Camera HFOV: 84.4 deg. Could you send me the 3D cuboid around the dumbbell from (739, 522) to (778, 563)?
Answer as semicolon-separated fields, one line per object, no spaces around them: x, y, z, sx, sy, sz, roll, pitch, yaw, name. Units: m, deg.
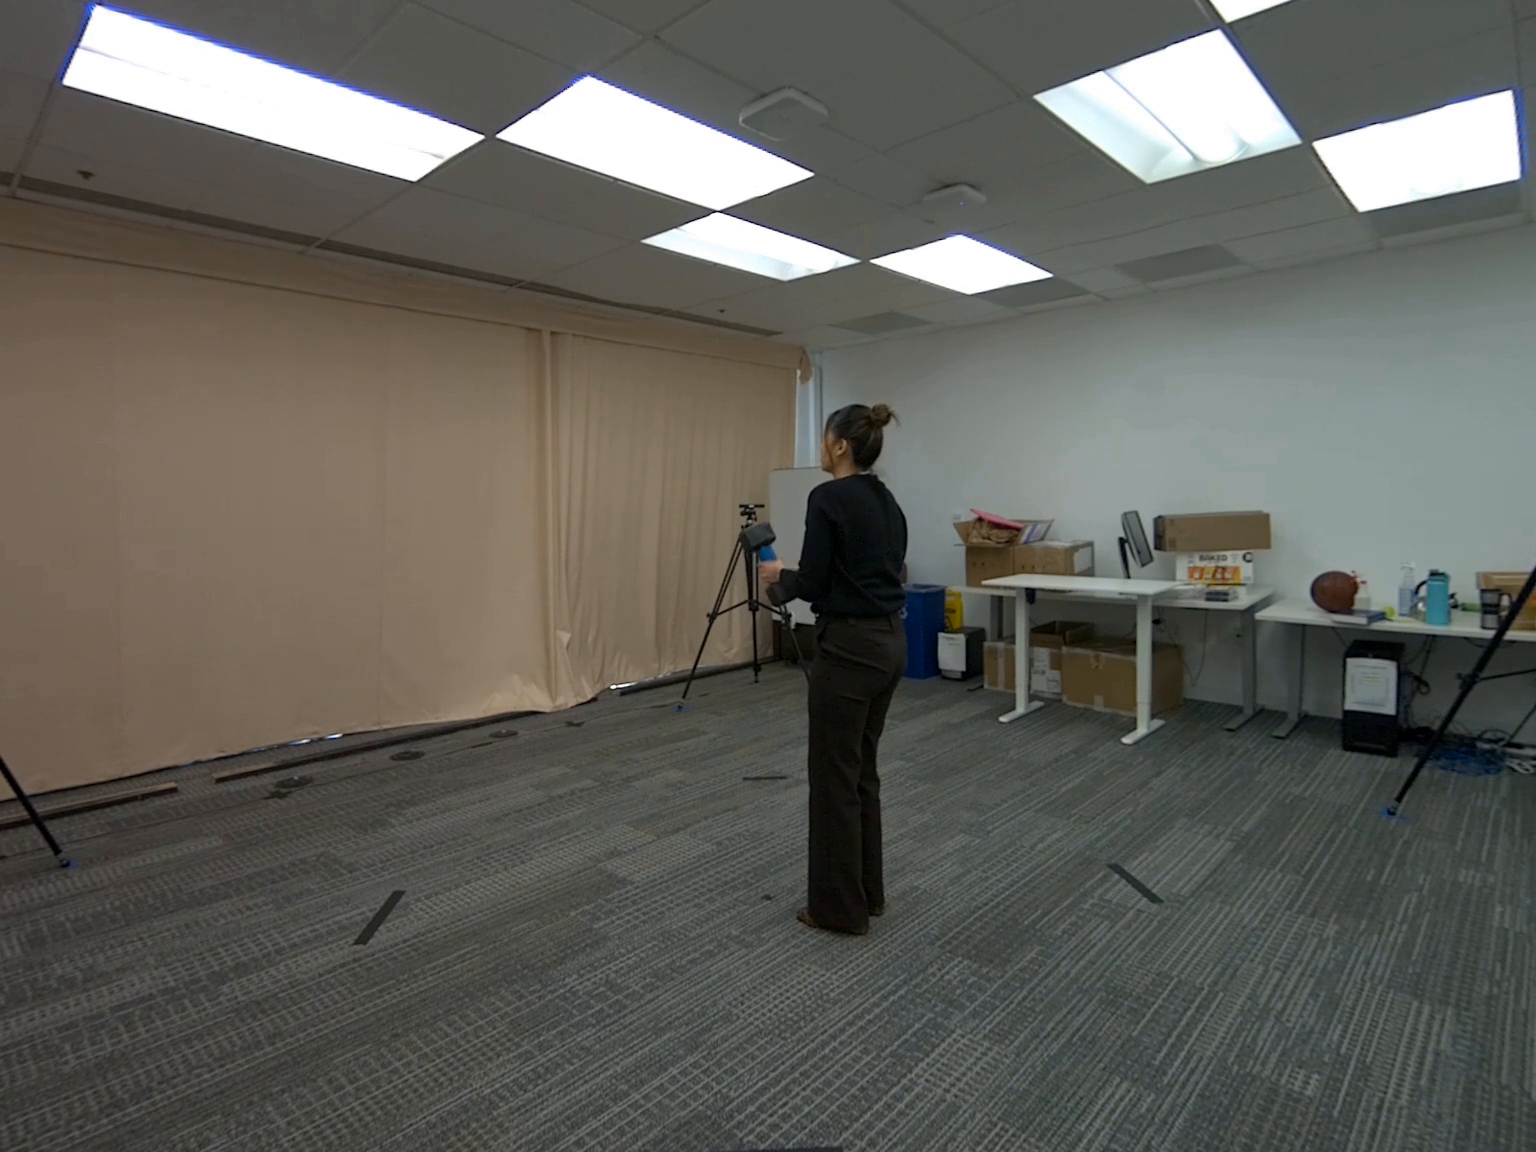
0.018;-0.043;2.938;0.106;0.296;0.124;-22;-10;-30;dumbbell
